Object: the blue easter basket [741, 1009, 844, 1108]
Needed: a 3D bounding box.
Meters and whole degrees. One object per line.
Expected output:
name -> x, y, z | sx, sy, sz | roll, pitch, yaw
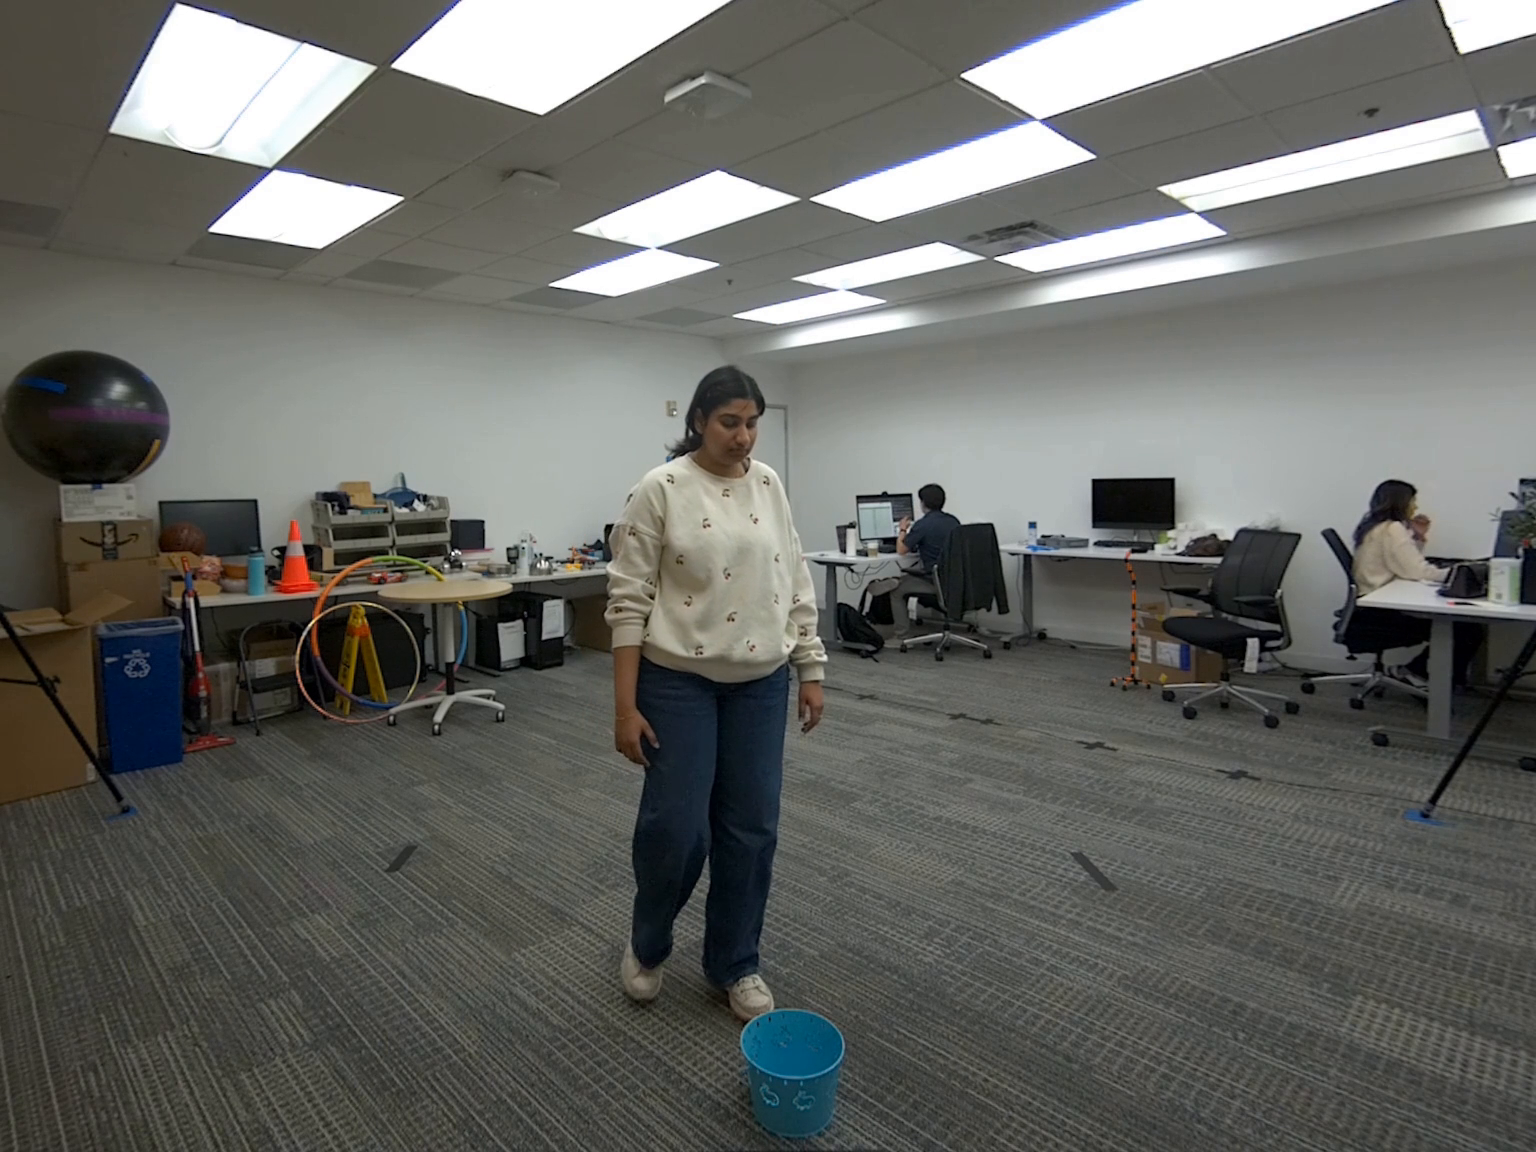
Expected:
blue easter basket -> 0.066, 1.106, 1.902 | 0.243, 0.155, 0.245 | -1, 6, -2
